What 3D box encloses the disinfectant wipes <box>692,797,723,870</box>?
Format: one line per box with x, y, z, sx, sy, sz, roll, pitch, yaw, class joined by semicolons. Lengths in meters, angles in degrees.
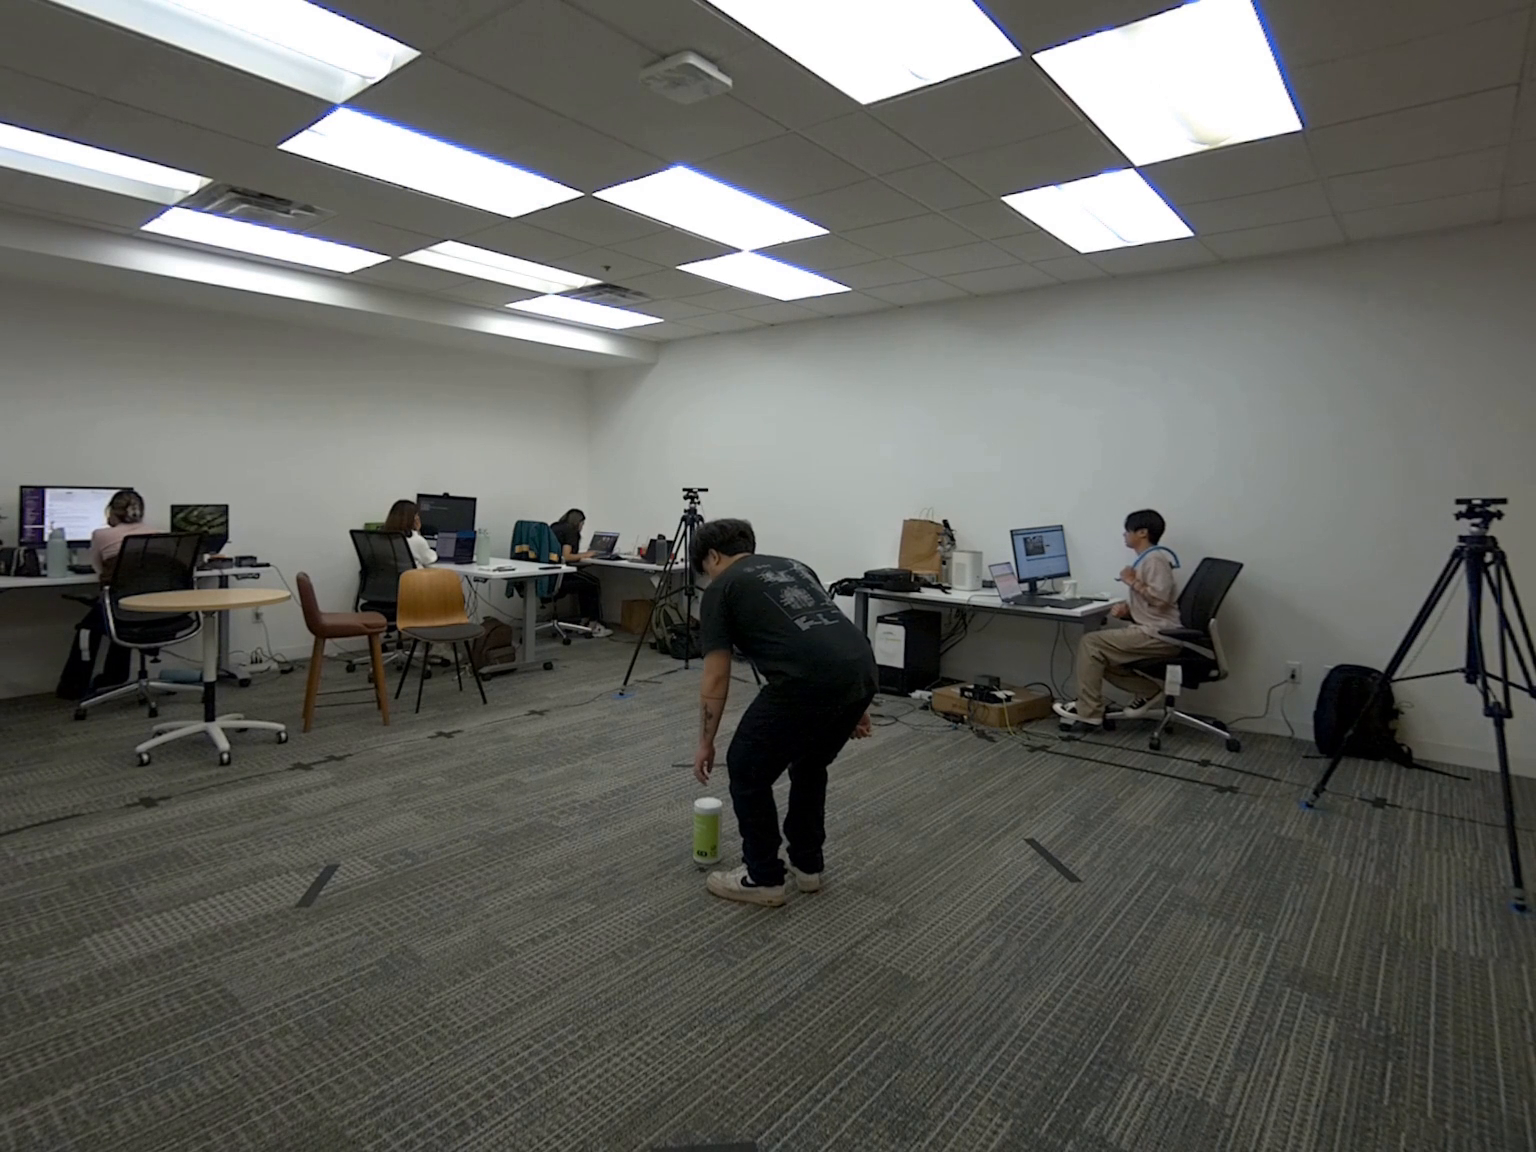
-0.237;0.955;3.197;0.118;0.217;0.118;1;4;-2;disinfectant wipes
